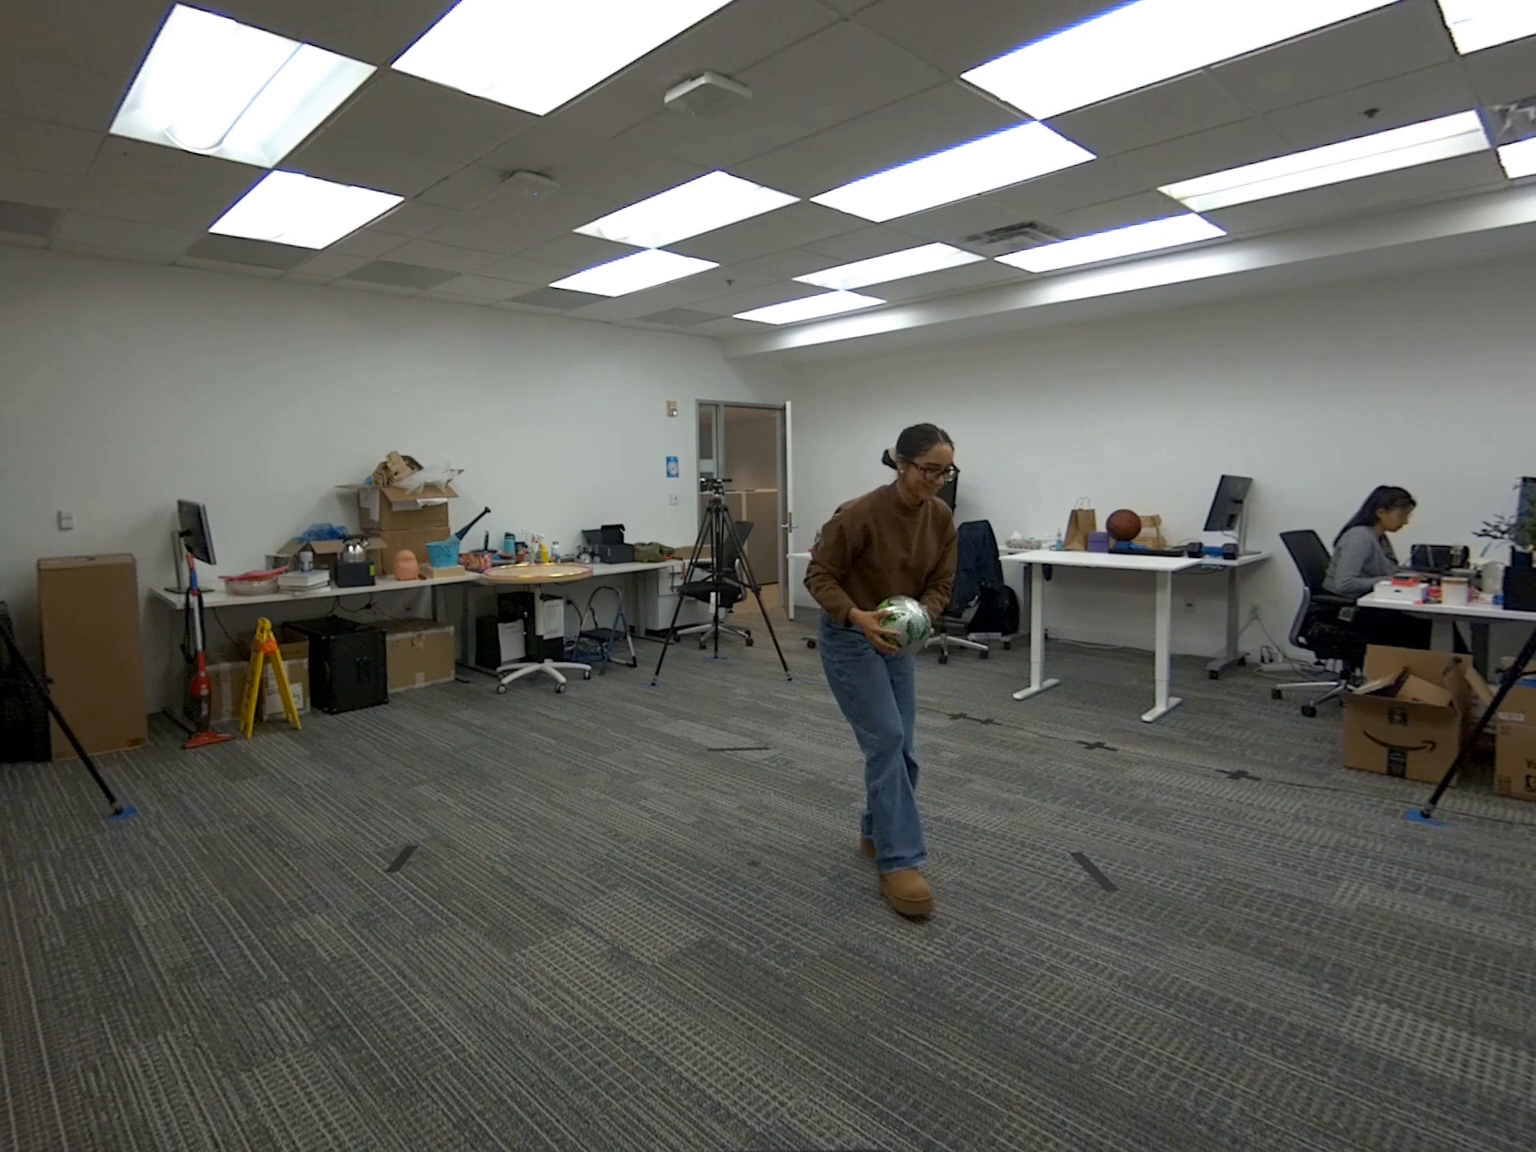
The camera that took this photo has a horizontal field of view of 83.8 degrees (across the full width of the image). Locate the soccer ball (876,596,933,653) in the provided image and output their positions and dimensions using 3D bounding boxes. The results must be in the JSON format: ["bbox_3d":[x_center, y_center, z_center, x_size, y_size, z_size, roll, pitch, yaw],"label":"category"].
[{"bbox_3d":[0.417,0.180,2.699,0.187,0.187,0.188,-1,5,-2],"label":"soccer ball"}]
